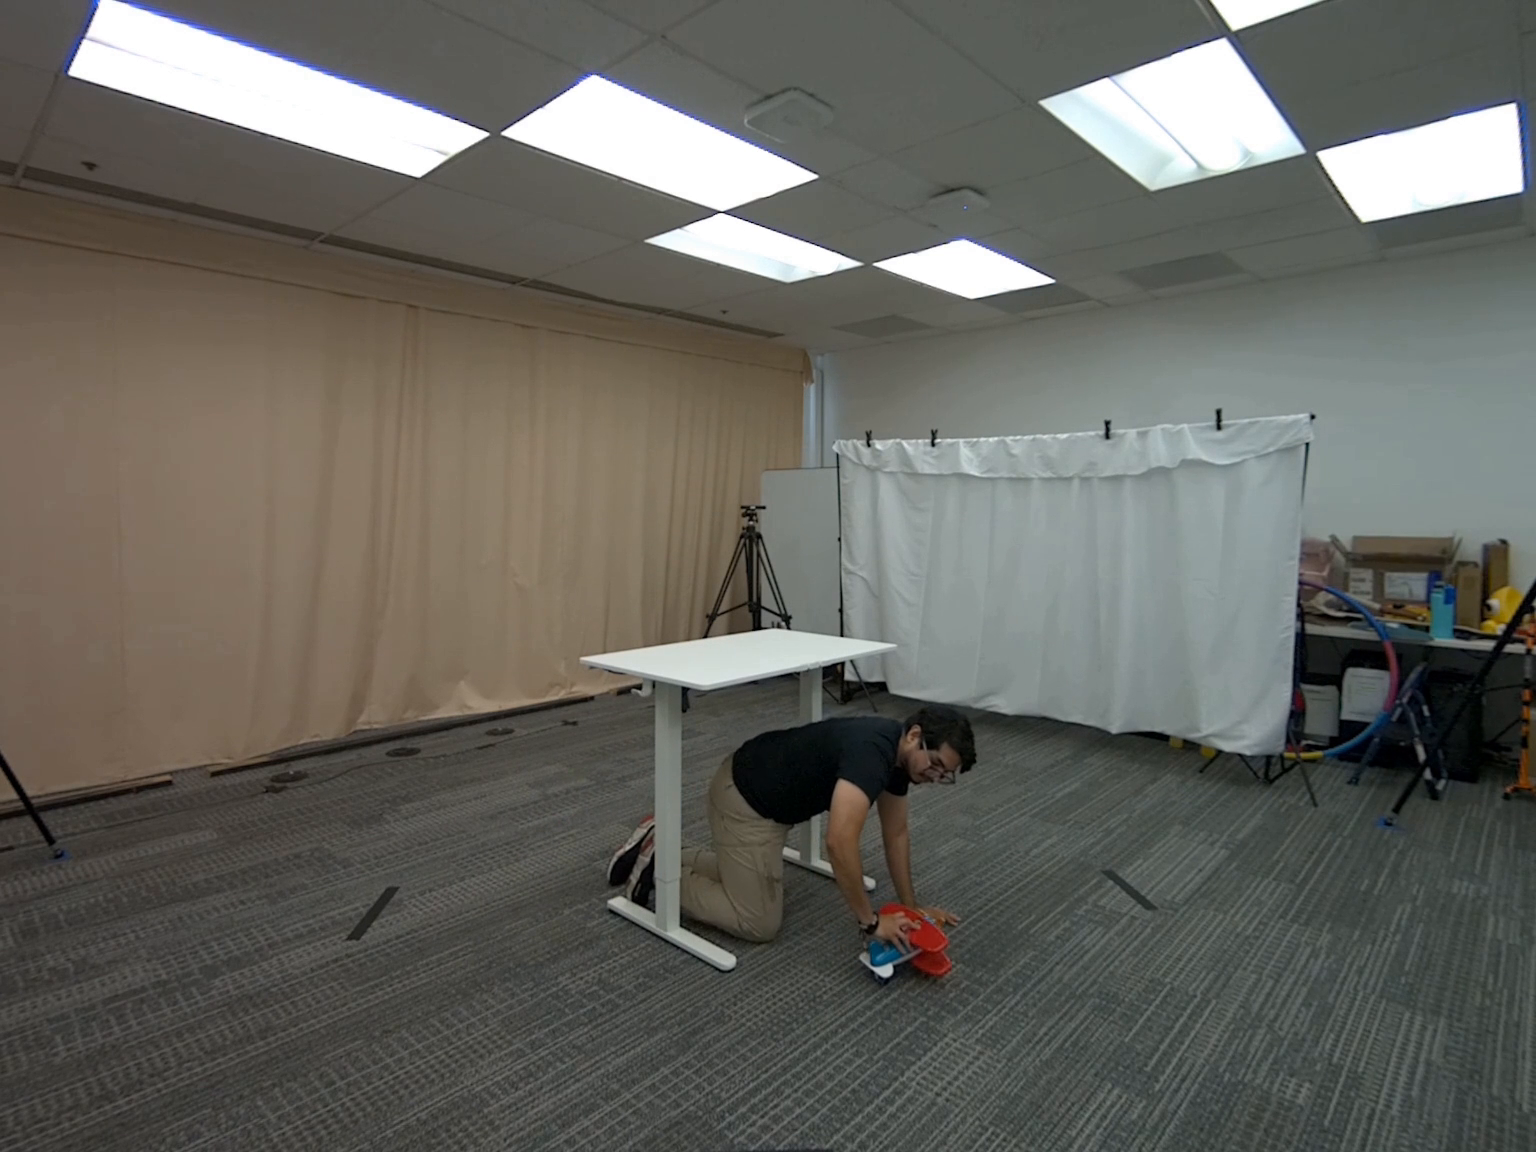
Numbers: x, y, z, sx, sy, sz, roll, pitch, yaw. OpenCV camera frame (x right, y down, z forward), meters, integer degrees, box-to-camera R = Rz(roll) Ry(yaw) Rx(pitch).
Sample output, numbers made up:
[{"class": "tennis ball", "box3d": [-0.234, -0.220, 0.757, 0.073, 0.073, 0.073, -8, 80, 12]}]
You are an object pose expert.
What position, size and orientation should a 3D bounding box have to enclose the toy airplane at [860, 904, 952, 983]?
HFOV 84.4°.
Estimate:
[{"class": "toy airplane", "box3d": [0.420, 1.114, 2.486, 0.259, 0.156, 0.252, 7, 8, 32]}]
